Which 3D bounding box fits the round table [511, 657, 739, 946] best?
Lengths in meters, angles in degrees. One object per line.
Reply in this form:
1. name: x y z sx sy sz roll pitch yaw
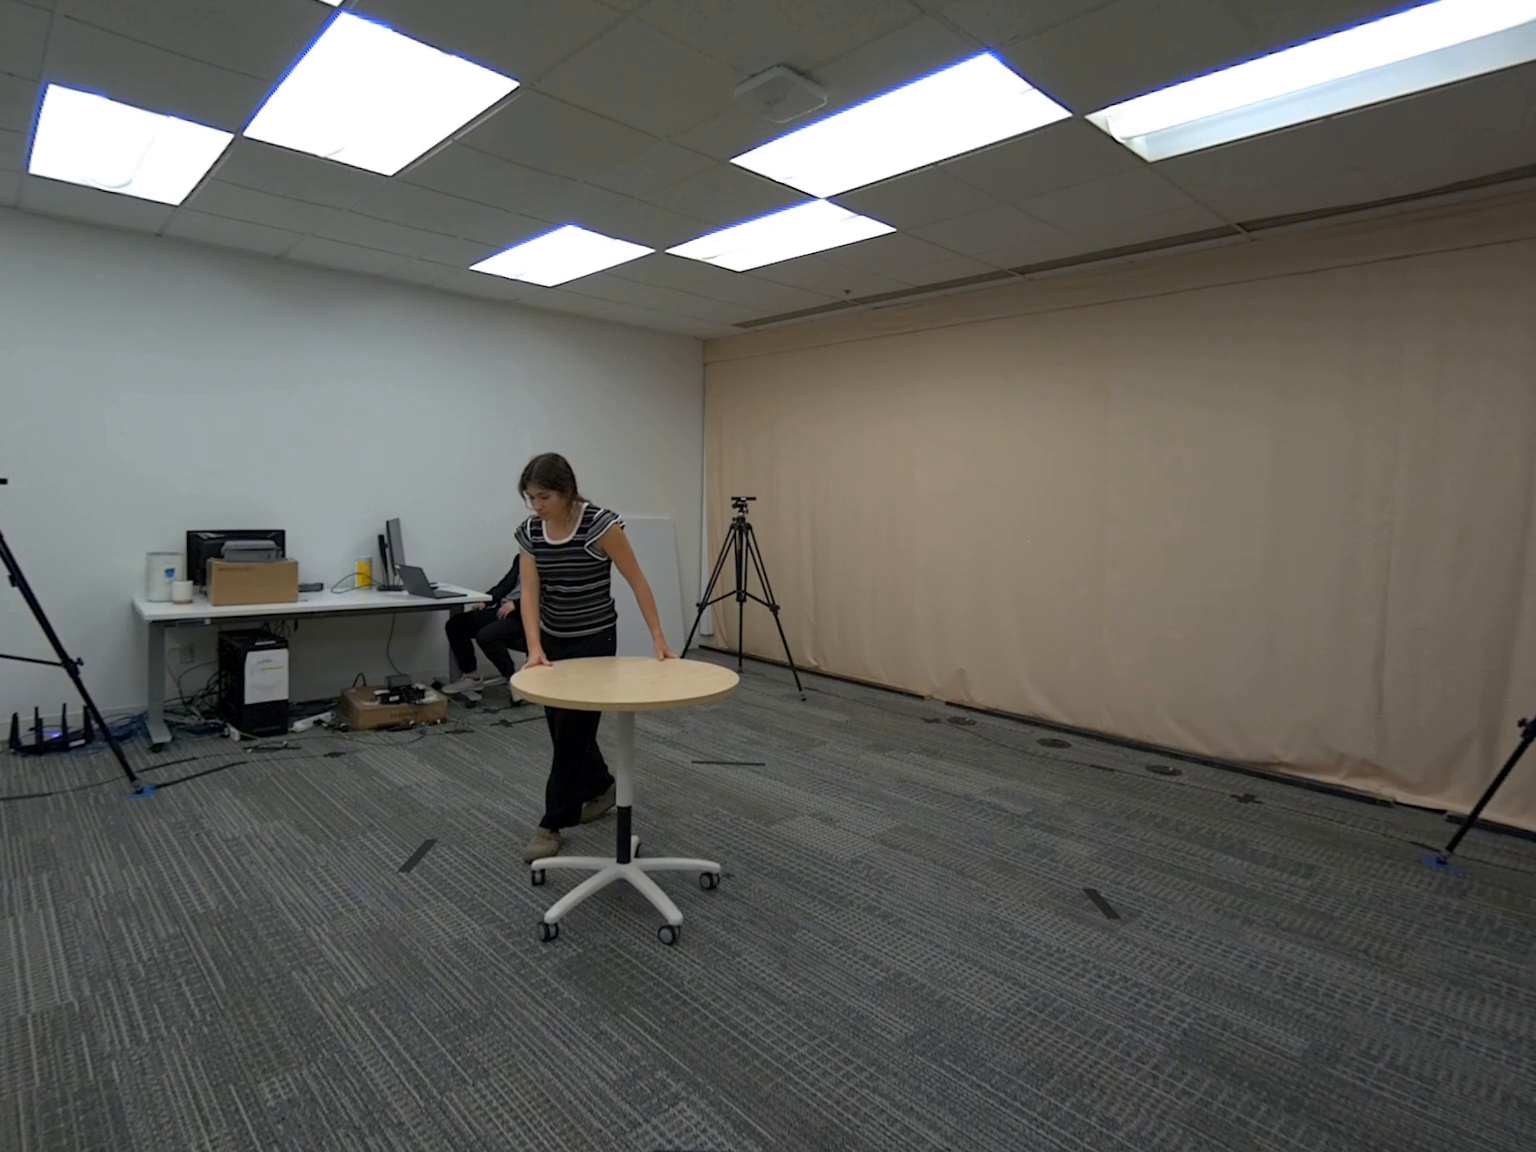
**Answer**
1. round table: -0.492 0.733 2.870 0.763 0.792 0.766 1 4 -1
